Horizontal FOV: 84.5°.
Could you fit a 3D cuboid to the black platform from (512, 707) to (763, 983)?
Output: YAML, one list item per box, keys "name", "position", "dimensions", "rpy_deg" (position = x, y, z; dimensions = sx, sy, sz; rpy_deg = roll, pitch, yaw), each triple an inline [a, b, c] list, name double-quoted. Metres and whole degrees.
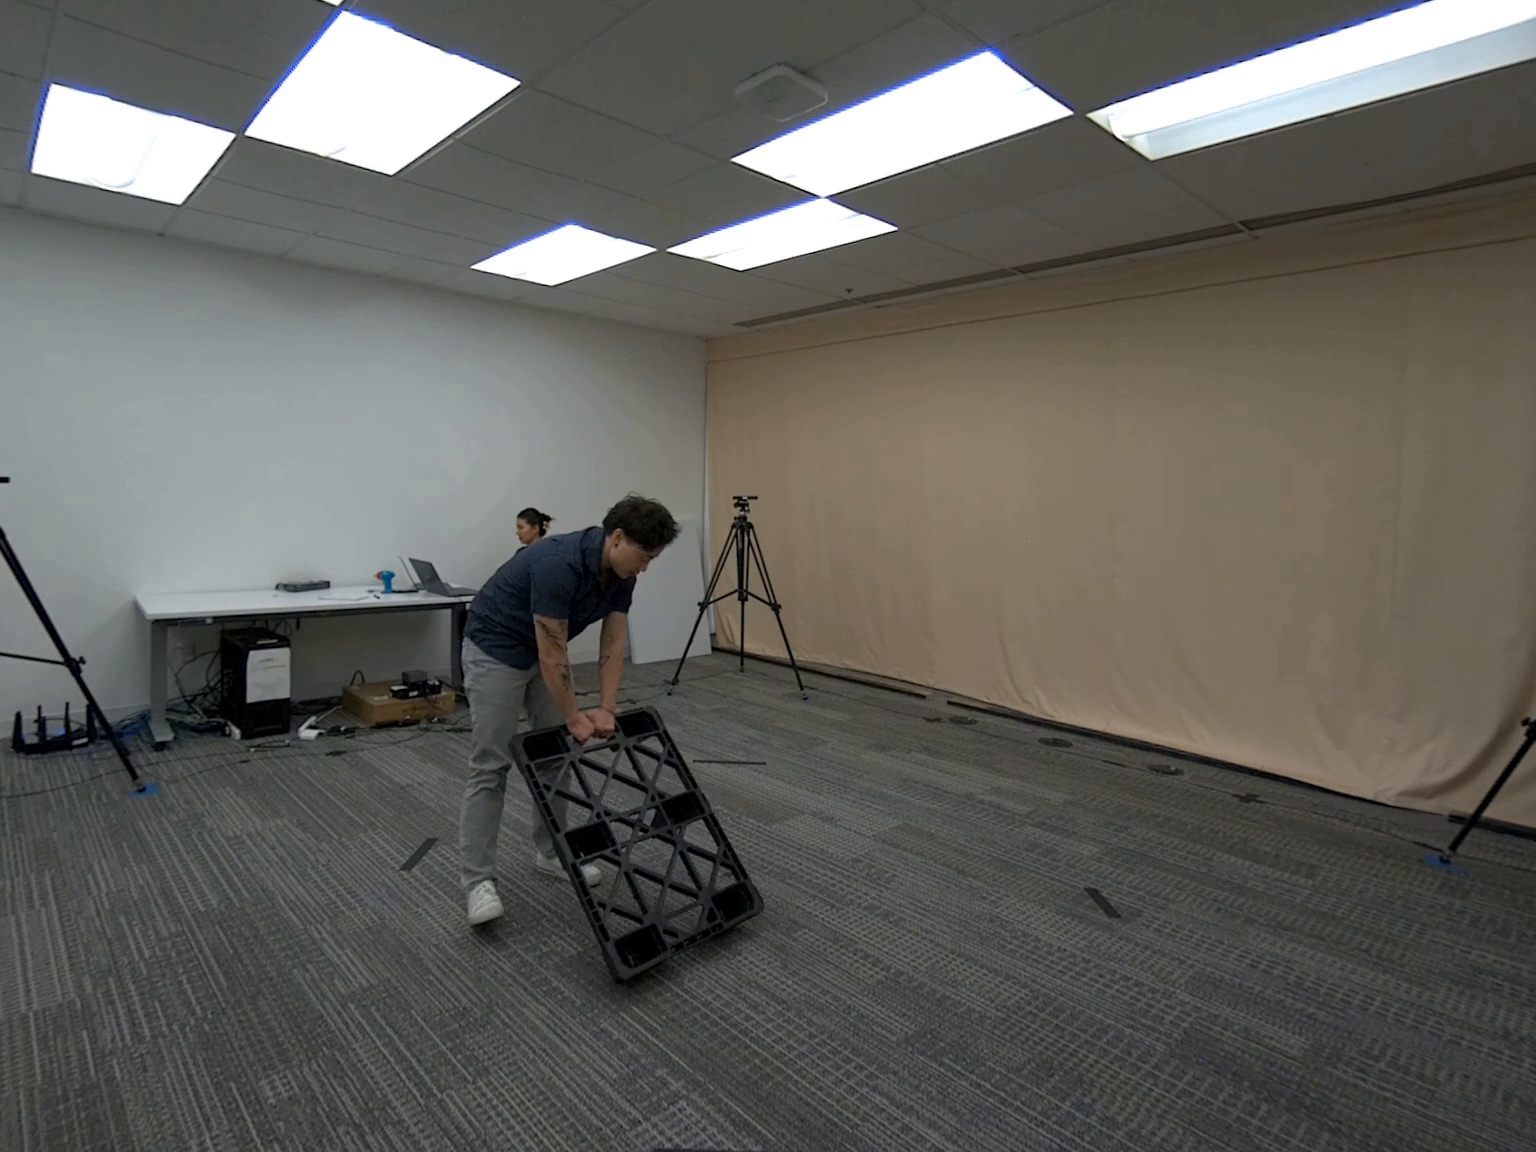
- name: "black platform"
  position: [-0.446, 0.827, 2.720]
  dimensions: [0.591, 0.143, 0.826]
  rpy_deg: [-3, 50, -48]
